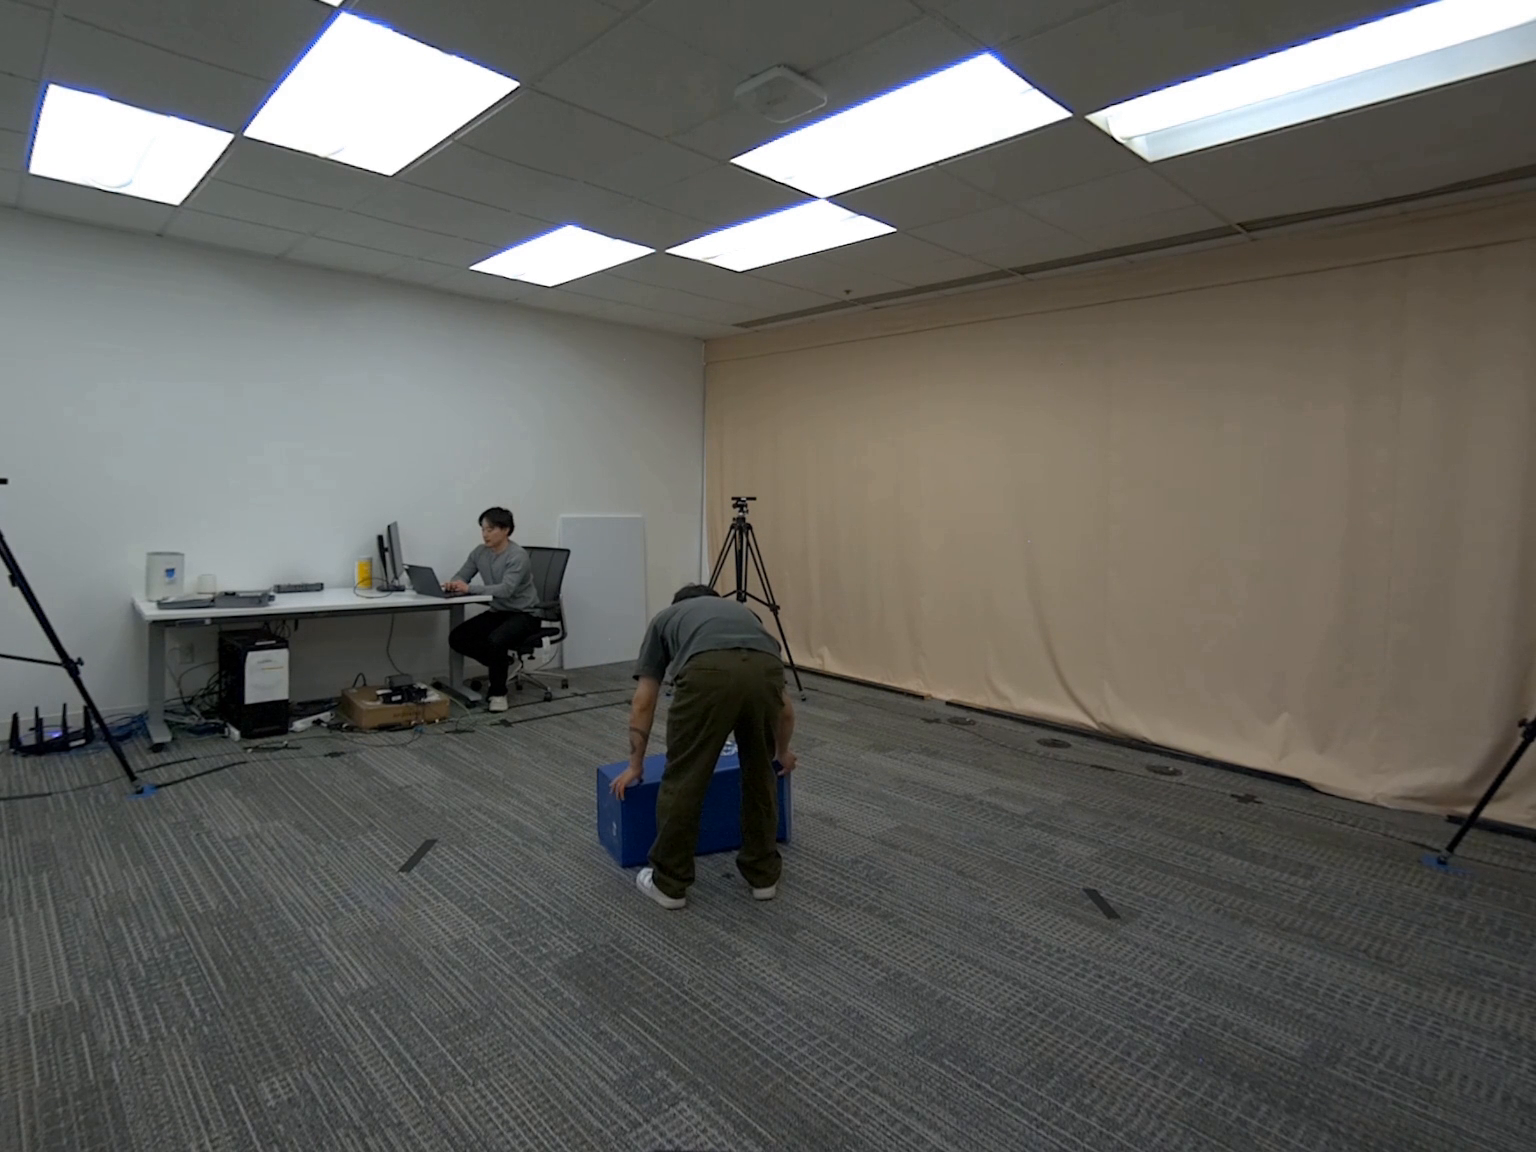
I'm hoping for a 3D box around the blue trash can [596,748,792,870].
[{"bbox_3d":[-0.309,0.914,3.411,0.701,0.372,0.386,-4,6,-26],"label":"blue trash can"}]
